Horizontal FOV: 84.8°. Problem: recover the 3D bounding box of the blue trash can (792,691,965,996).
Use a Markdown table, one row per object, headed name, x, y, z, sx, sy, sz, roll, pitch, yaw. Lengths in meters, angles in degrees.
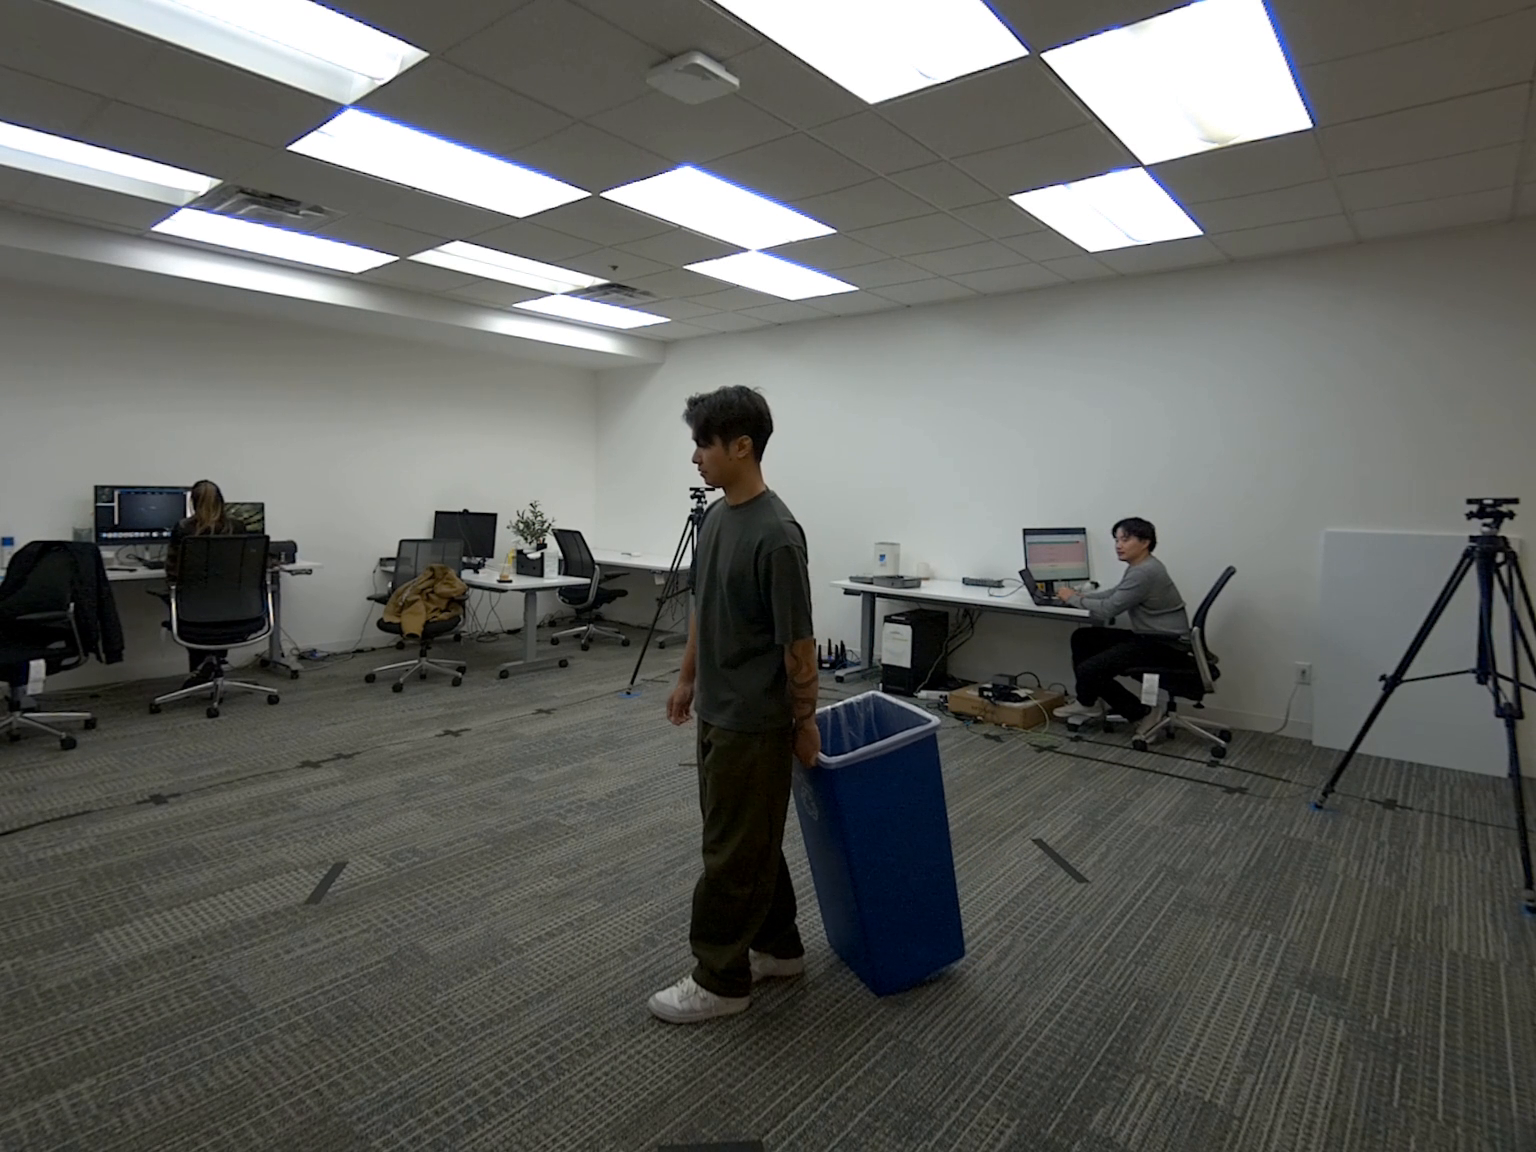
| name | x | y | z | sx | sy | sz | roll | pitch | yaw |
| --- | --- | --- | --- | --- | --- | --- | --- | --- | --- |
| blue trash can | 0.310 | 0.762 | 2.468 | 0.373 | 0.707 | 0.383 | -15 | 9 | -20 |
